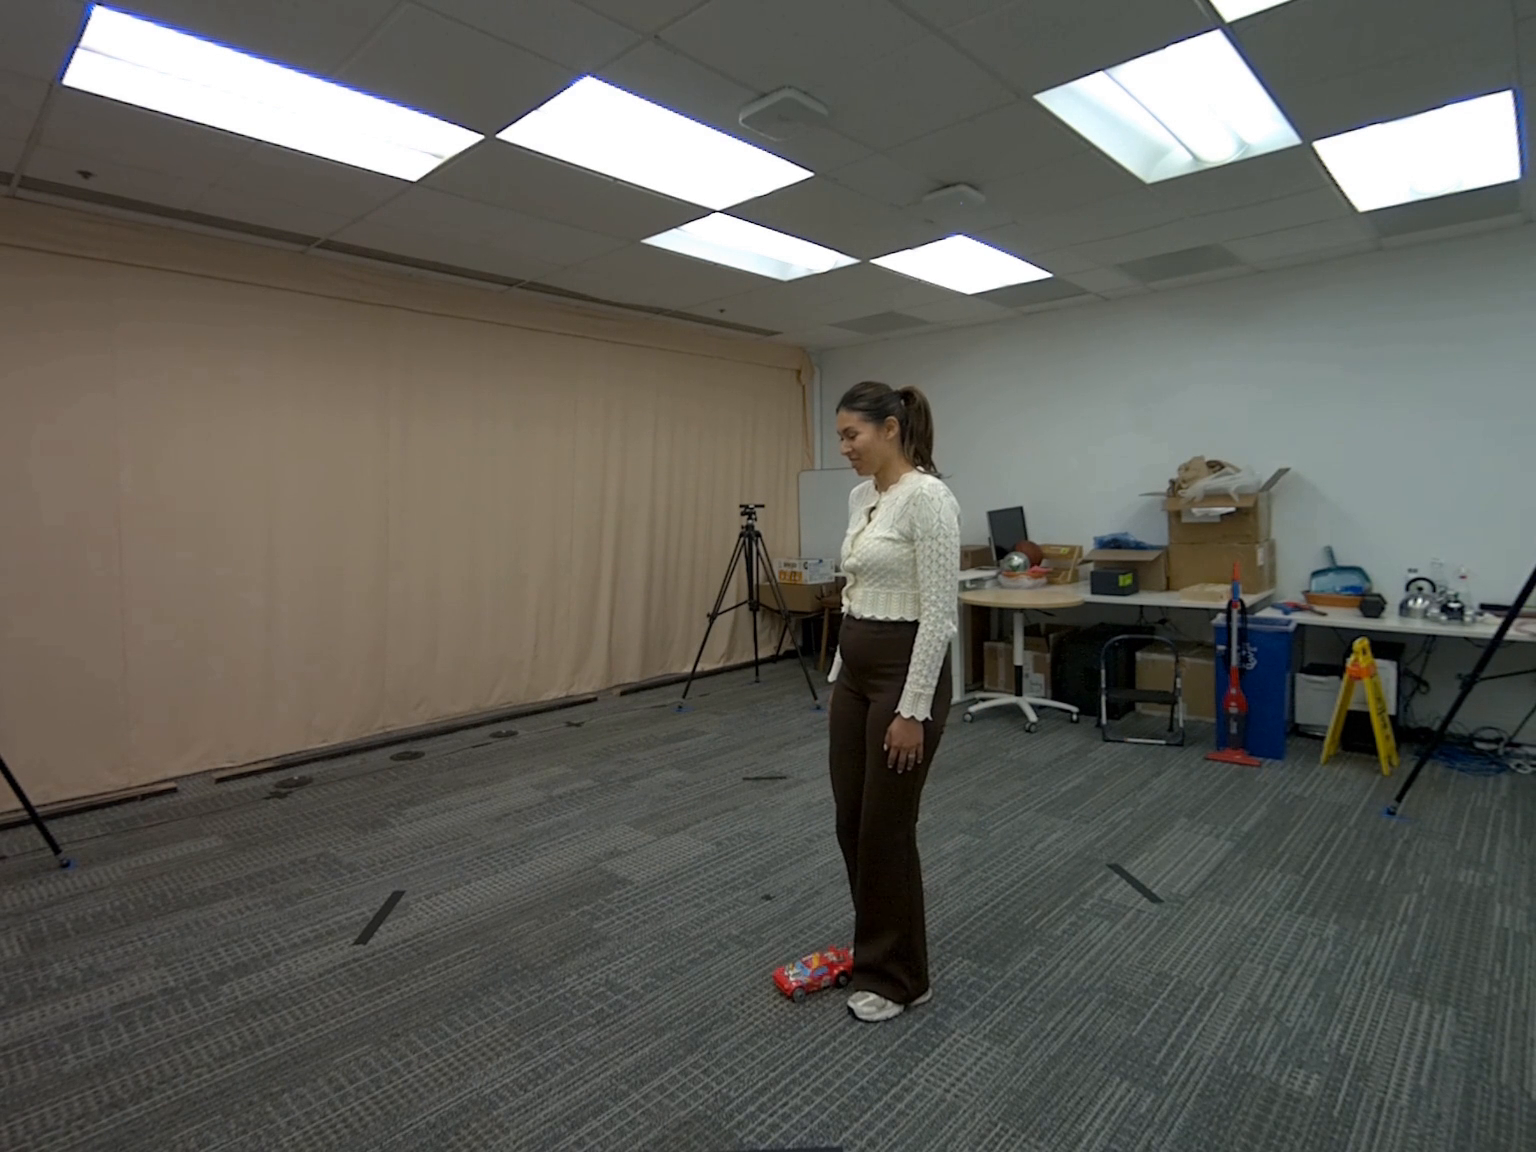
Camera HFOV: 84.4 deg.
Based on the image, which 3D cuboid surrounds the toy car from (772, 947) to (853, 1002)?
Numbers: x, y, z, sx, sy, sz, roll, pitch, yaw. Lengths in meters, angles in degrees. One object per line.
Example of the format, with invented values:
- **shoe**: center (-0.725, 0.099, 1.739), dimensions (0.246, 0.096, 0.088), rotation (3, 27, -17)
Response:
- **toy car**: center (0.142, 1.156, 2.436), dimensions (0.250, 0.082, 0.134), rotation (-16, 10, -24)
